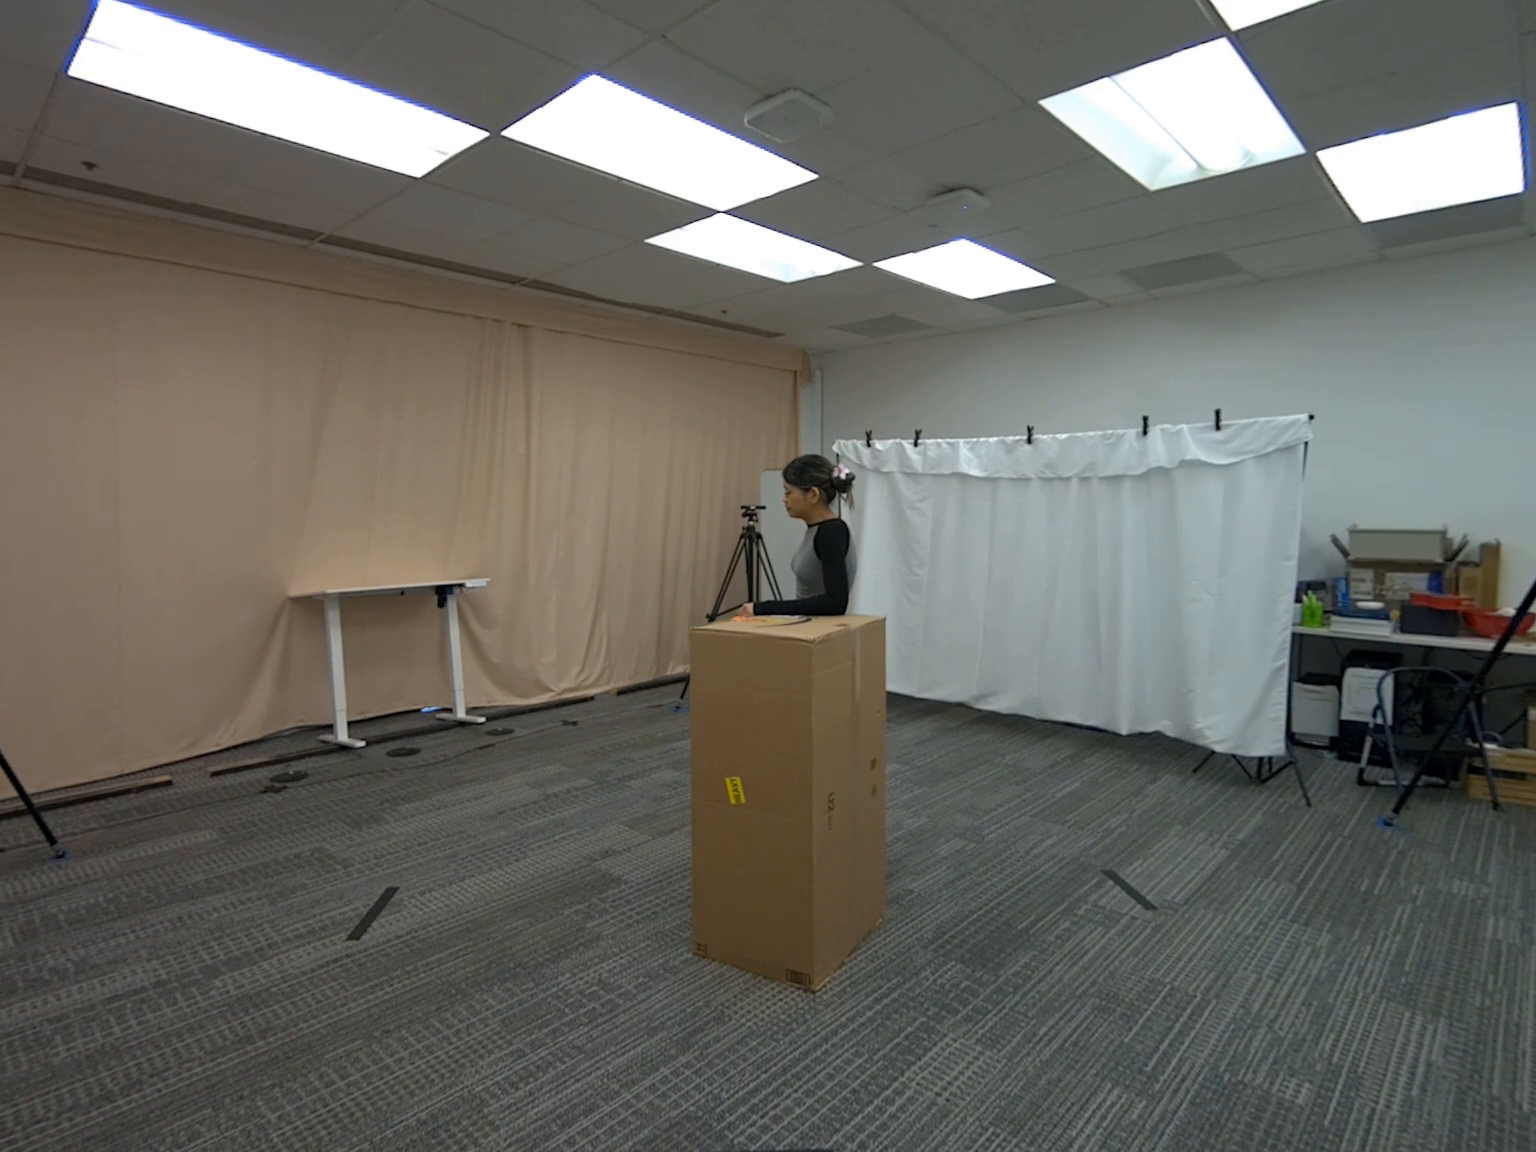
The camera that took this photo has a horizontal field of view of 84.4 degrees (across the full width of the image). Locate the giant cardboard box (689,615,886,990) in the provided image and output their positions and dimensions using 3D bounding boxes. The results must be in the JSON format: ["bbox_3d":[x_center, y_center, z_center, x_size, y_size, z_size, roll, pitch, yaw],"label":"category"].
[{"bbox_3d":[0.083,0.657,2.727,0.439,1.024,0.562,2,3,31],"label":"giant cardboard box"}]
